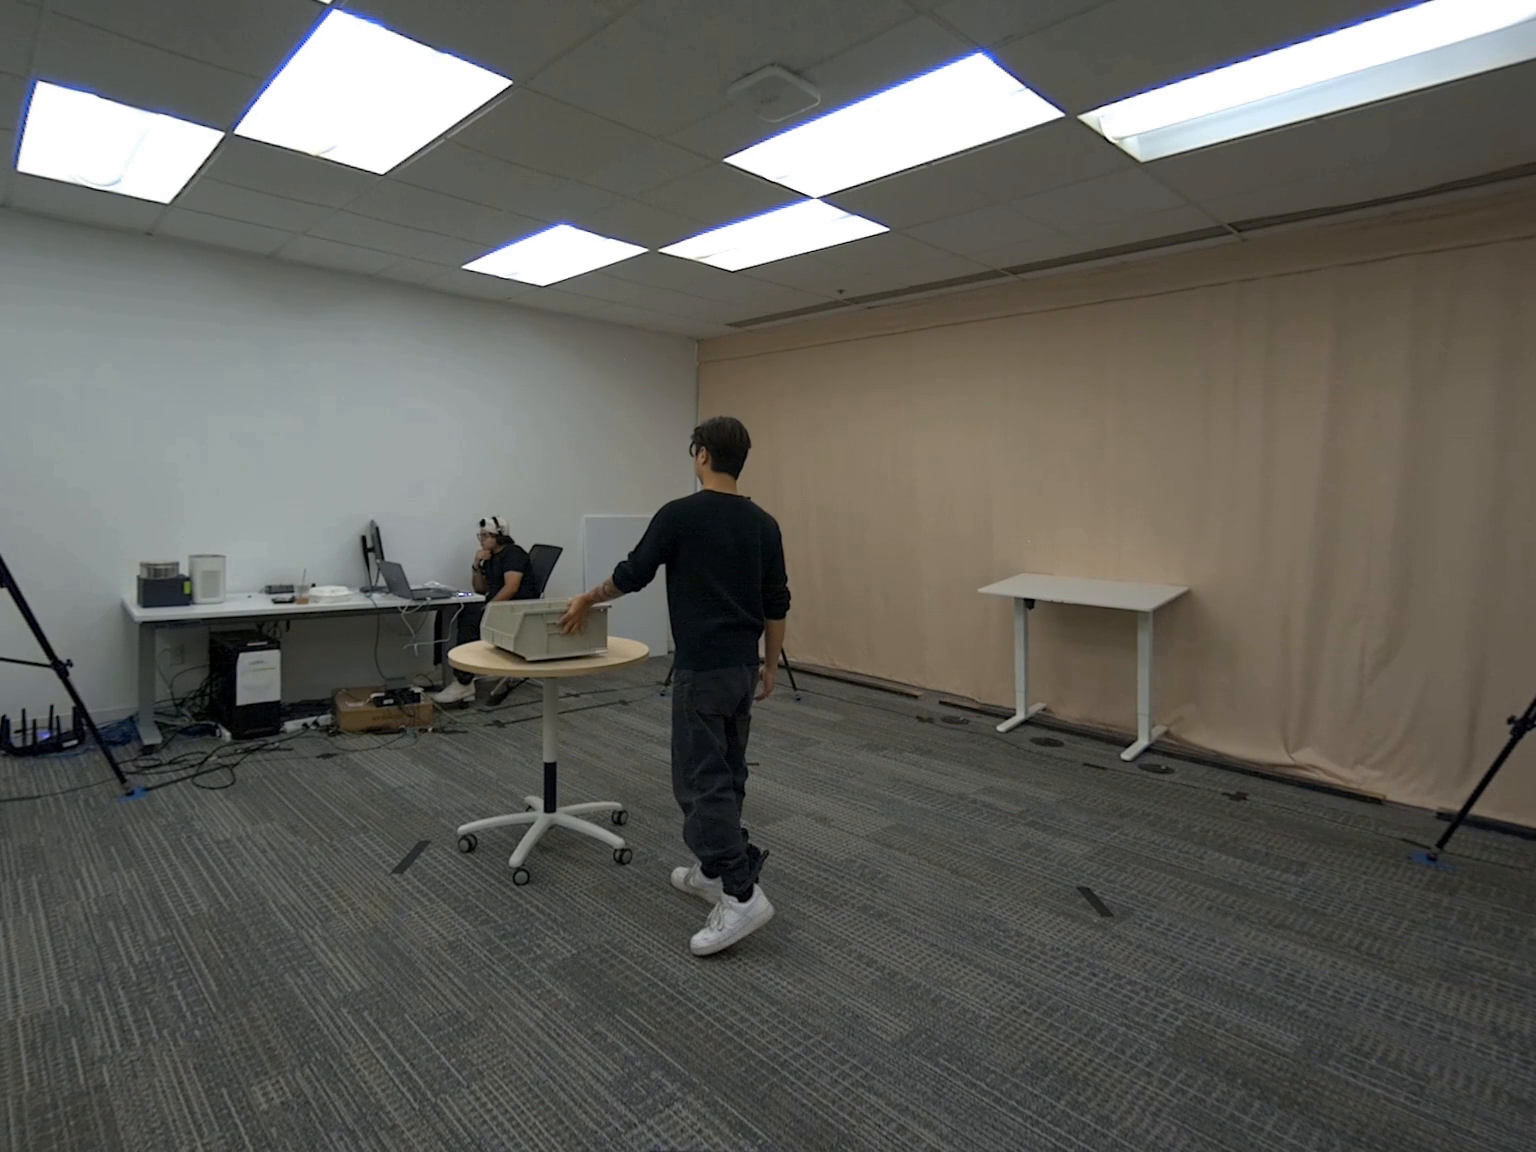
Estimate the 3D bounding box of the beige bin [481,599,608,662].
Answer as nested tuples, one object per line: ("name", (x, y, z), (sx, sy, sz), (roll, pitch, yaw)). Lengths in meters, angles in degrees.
("beige bin", (-0.868, 0.194, 3.233), (0.369, 0.189, 0.432), (-1, 3, -35))
